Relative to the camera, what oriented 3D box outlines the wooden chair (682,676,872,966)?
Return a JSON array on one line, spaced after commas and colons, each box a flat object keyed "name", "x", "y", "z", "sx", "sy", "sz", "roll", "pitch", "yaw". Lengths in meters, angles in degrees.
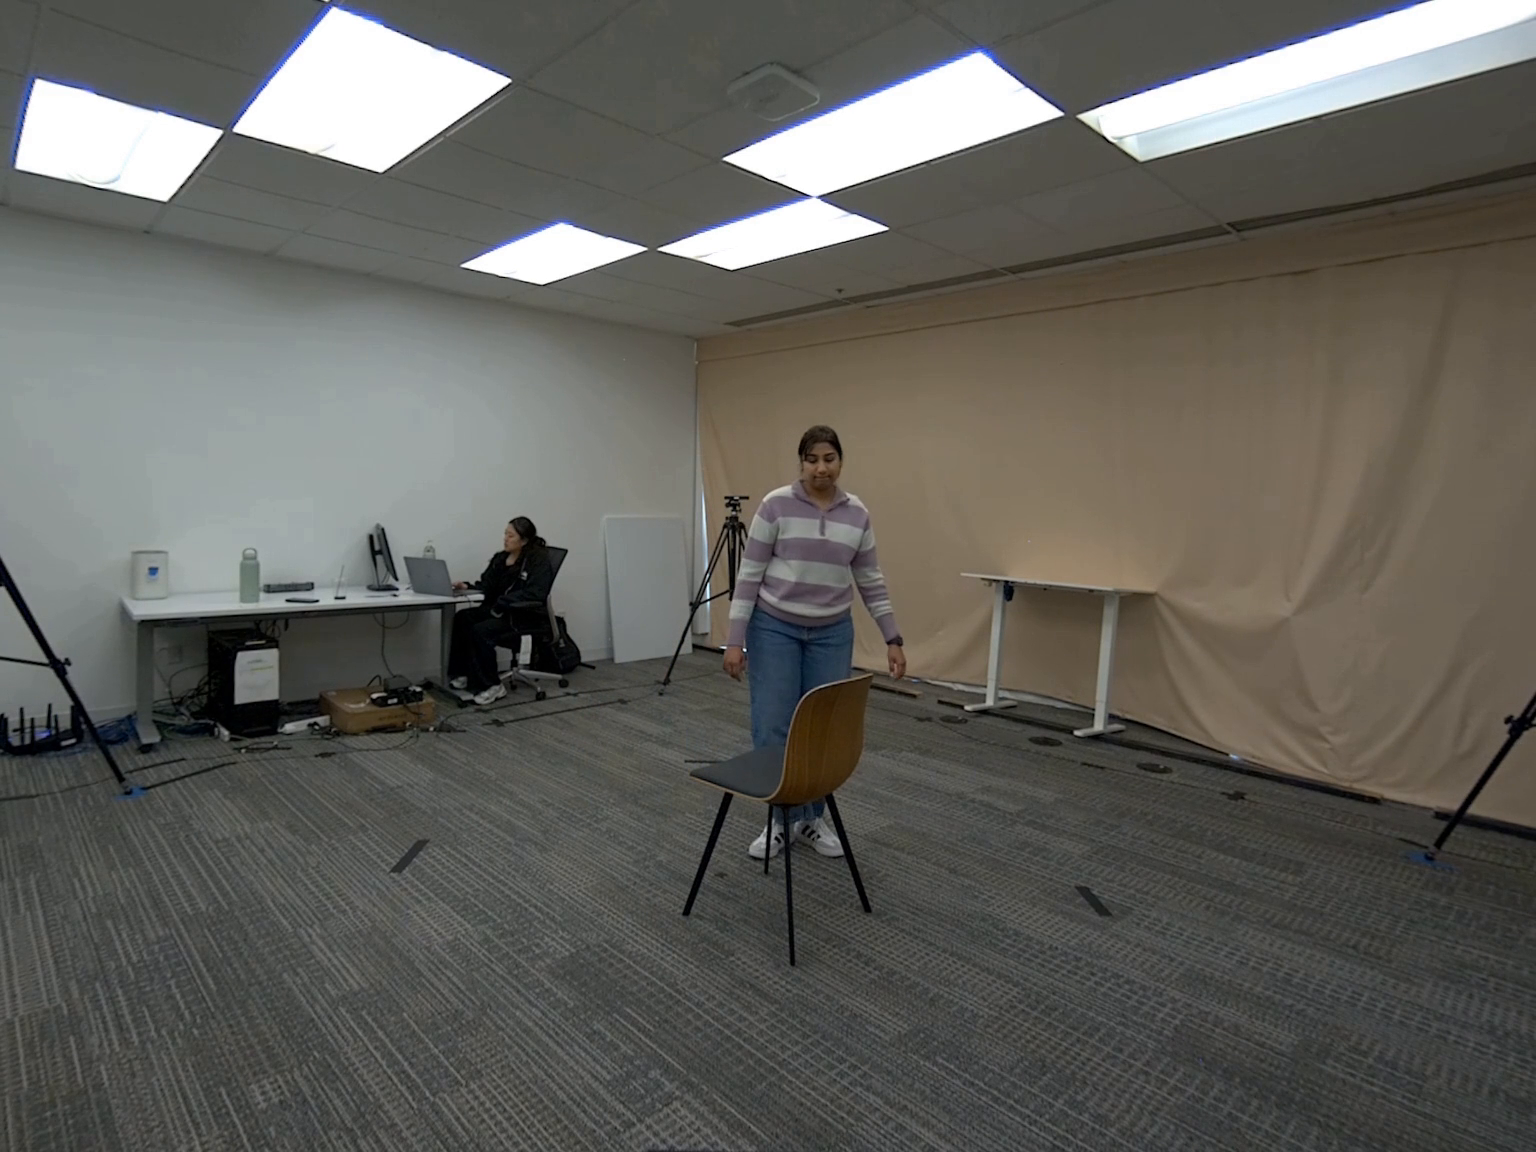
[{"name": "wooden chair", "x": 0.028, "y": 0.708, "z": 2.793, "sx": 0.537, "sy": 0.873, "sz": 0.467, "roll": 9, "pitch": 8, "yaw": 38}]
